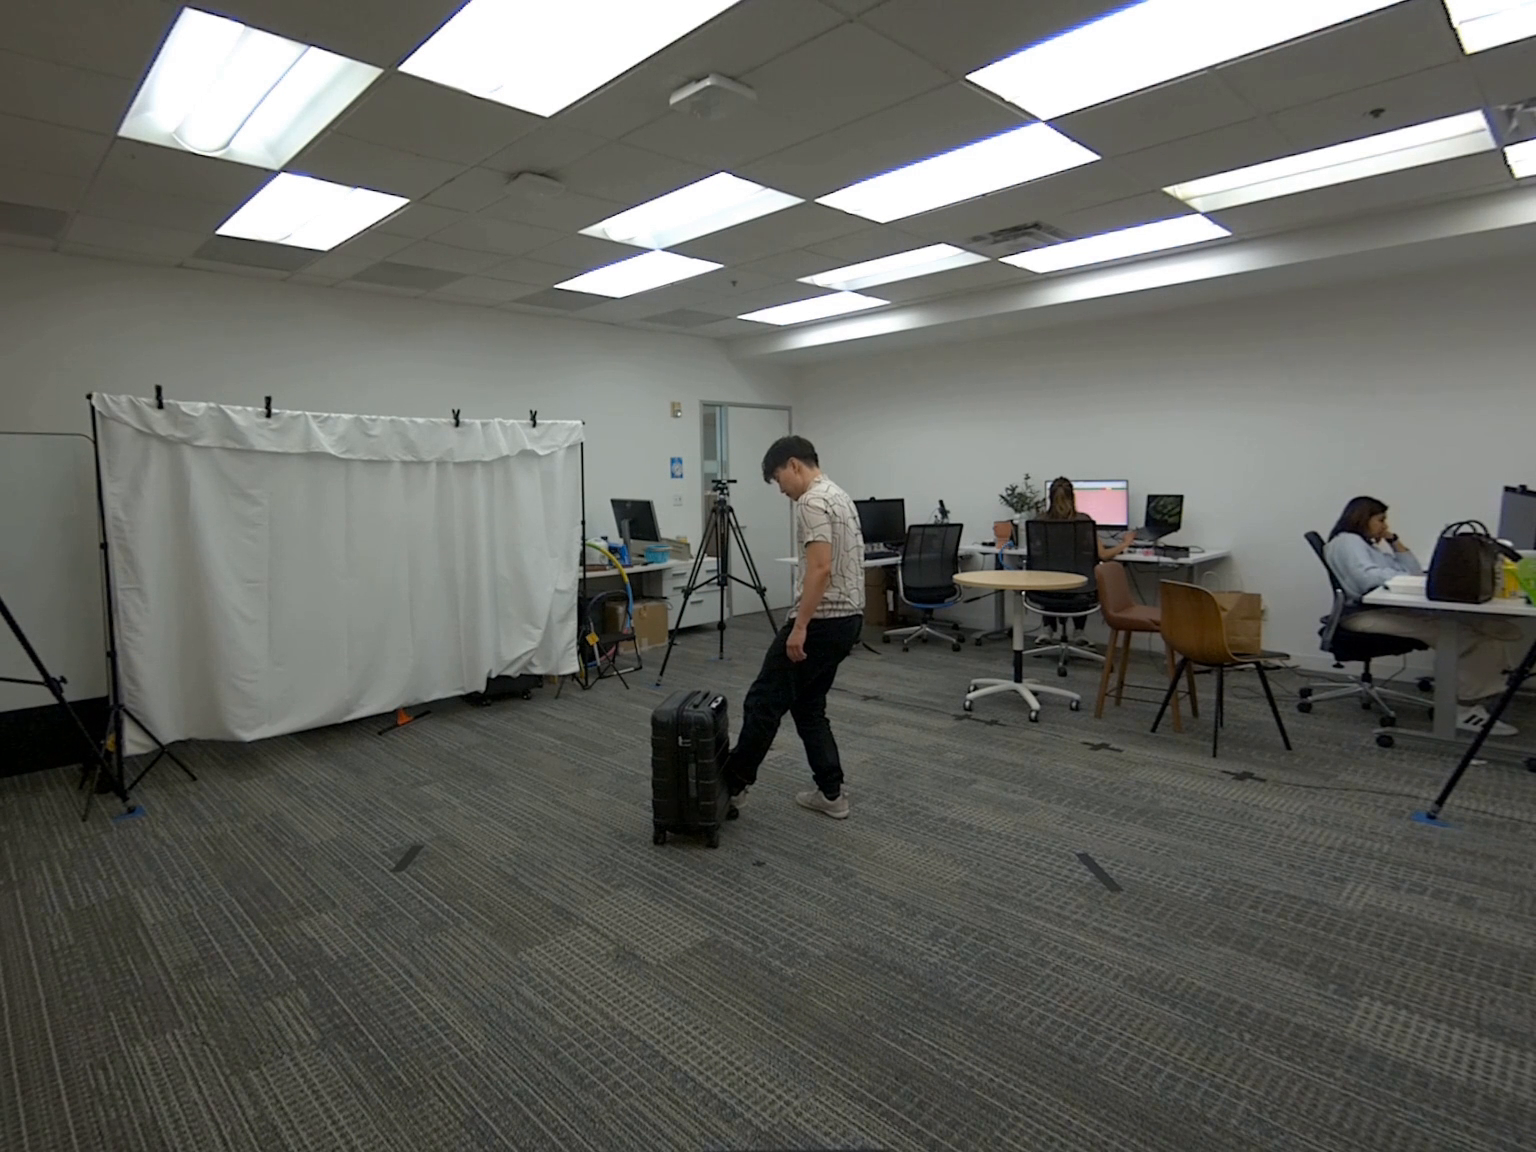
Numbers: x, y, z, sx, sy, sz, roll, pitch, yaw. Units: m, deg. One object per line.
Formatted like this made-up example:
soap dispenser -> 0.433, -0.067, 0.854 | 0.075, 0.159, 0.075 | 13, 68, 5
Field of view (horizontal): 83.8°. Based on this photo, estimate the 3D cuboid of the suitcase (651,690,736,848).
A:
suitcase -> -0.300, 0.741, 3.384 | 0.251, 0.547, 0.373 | -1, 5, 10
